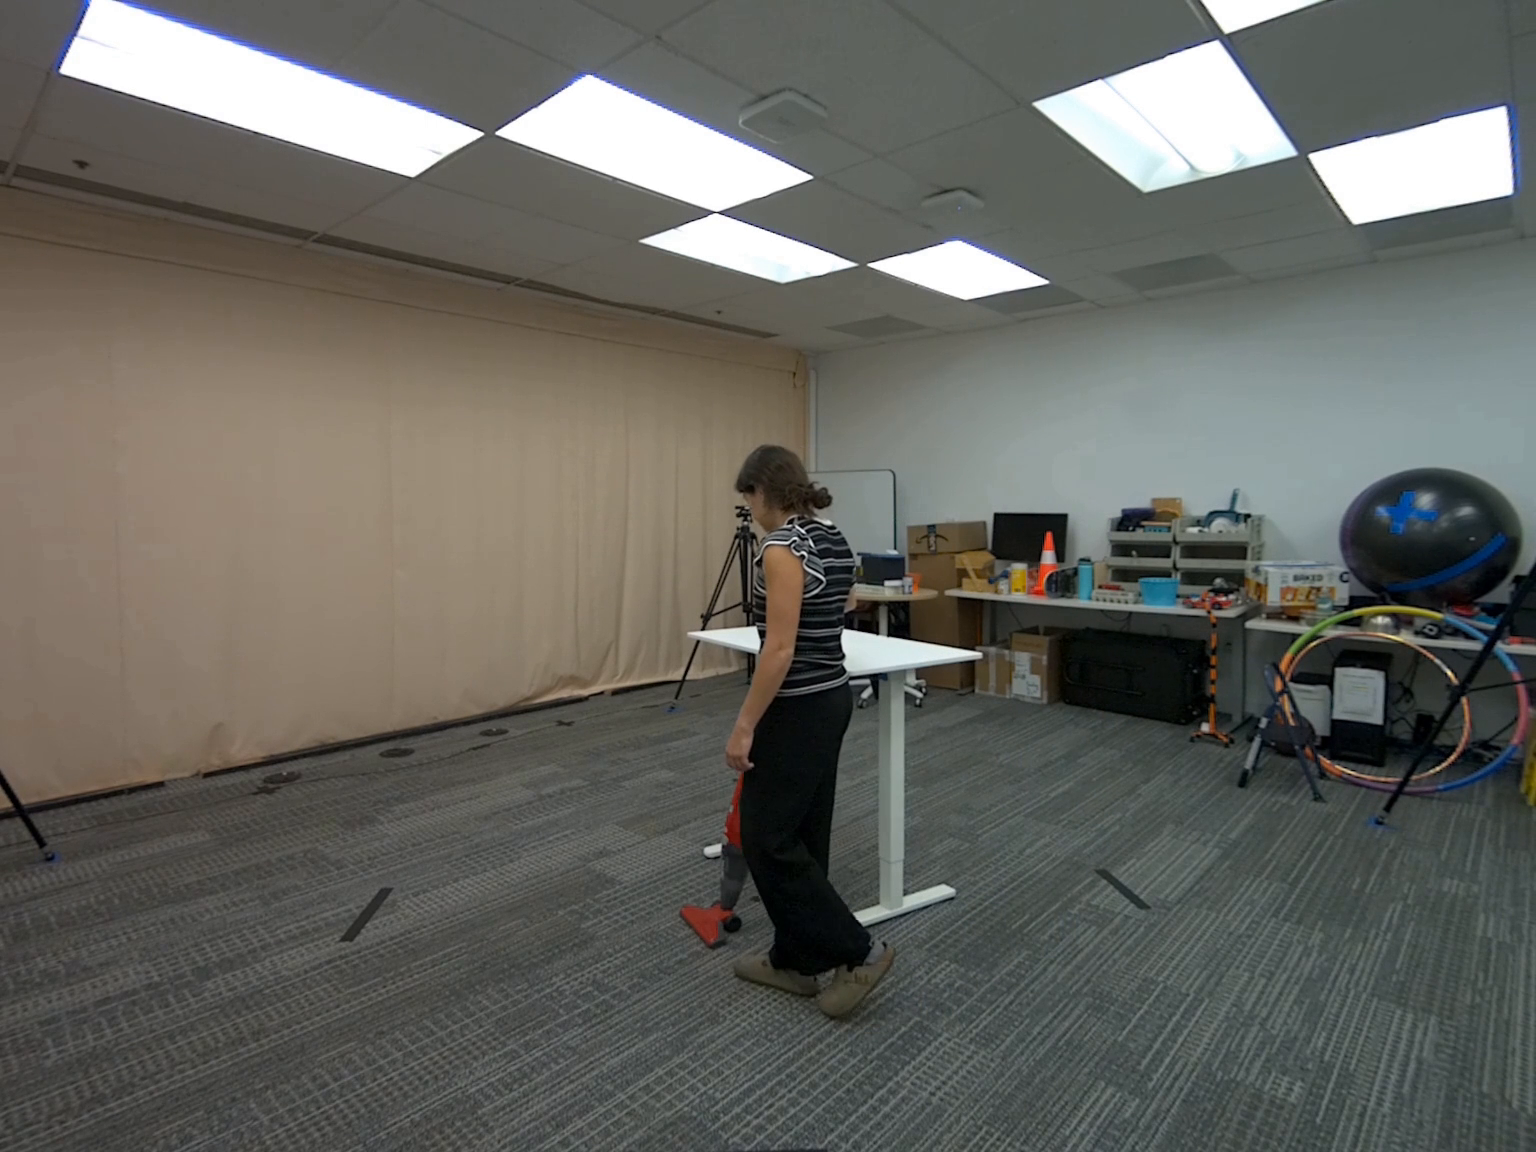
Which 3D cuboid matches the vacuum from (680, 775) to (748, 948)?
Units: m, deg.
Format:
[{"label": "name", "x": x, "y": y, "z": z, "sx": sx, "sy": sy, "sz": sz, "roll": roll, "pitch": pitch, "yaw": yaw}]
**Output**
[{"label": "vacuum", "x": -0.052, "y": 0.672, "z": 2.820, "sx": 0.140, "sy": 1.051, "sz": 0.260, "roll": 17, "pitch": -5, "yaw": -28}]
